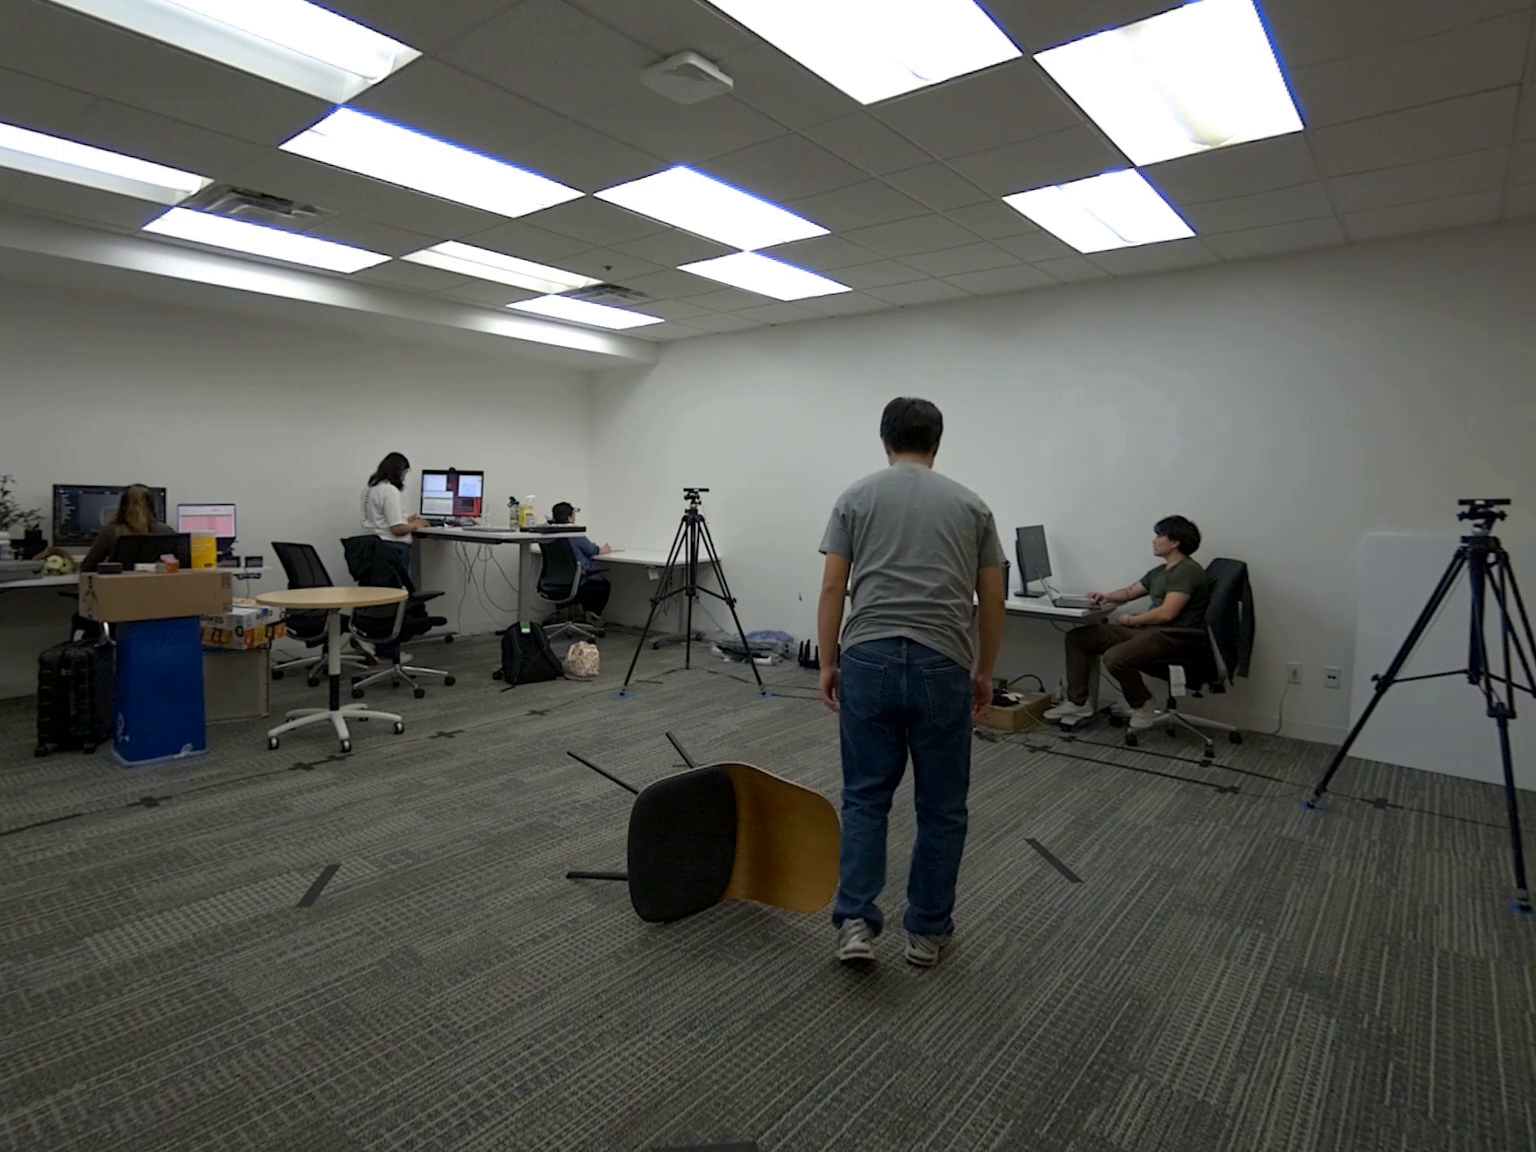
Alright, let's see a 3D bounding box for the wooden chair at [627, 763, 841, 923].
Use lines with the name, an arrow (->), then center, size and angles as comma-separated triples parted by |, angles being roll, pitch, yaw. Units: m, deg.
wooden chair -> -0.273, 0.865, 2.833 | 0.907, 0.477, 0.507 | 5, 5, 43
